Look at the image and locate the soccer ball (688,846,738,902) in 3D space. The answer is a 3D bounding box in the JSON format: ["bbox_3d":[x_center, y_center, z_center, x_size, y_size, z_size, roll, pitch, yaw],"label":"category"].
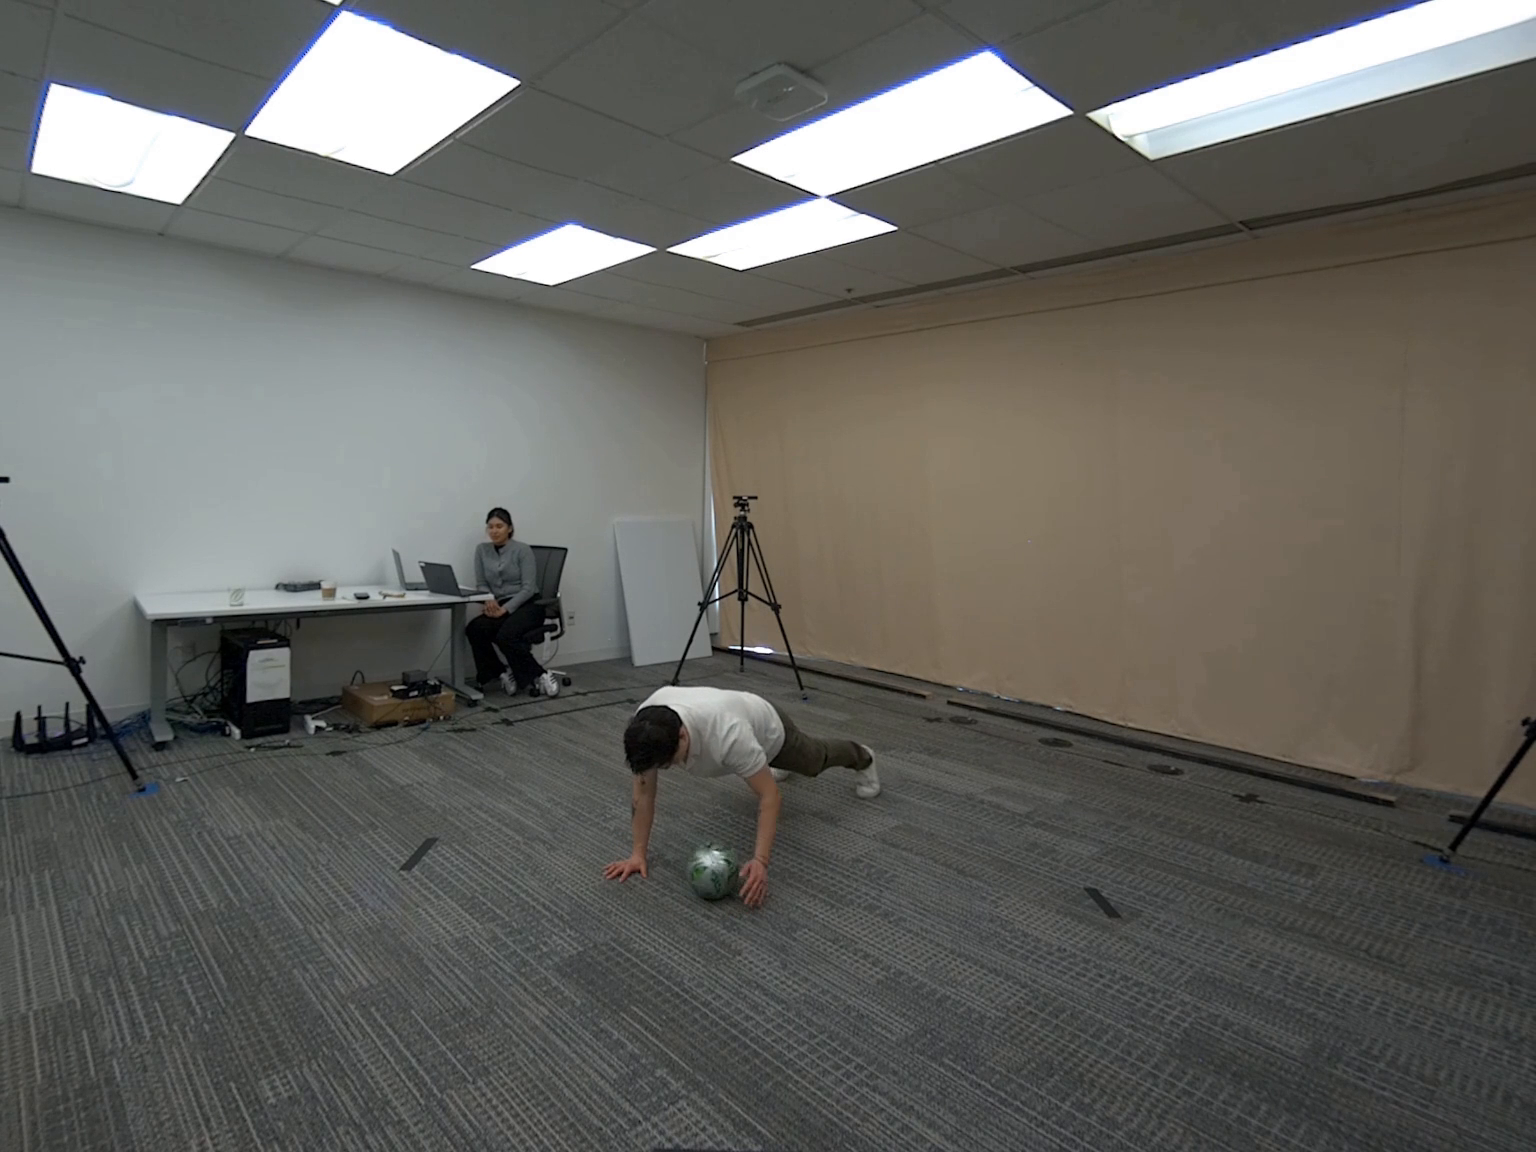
[{"bbox_3d":[-0.205,1.025,2.930,0.187,0.187,0.188,1,4,-1],"label":"soccer ball"}]
